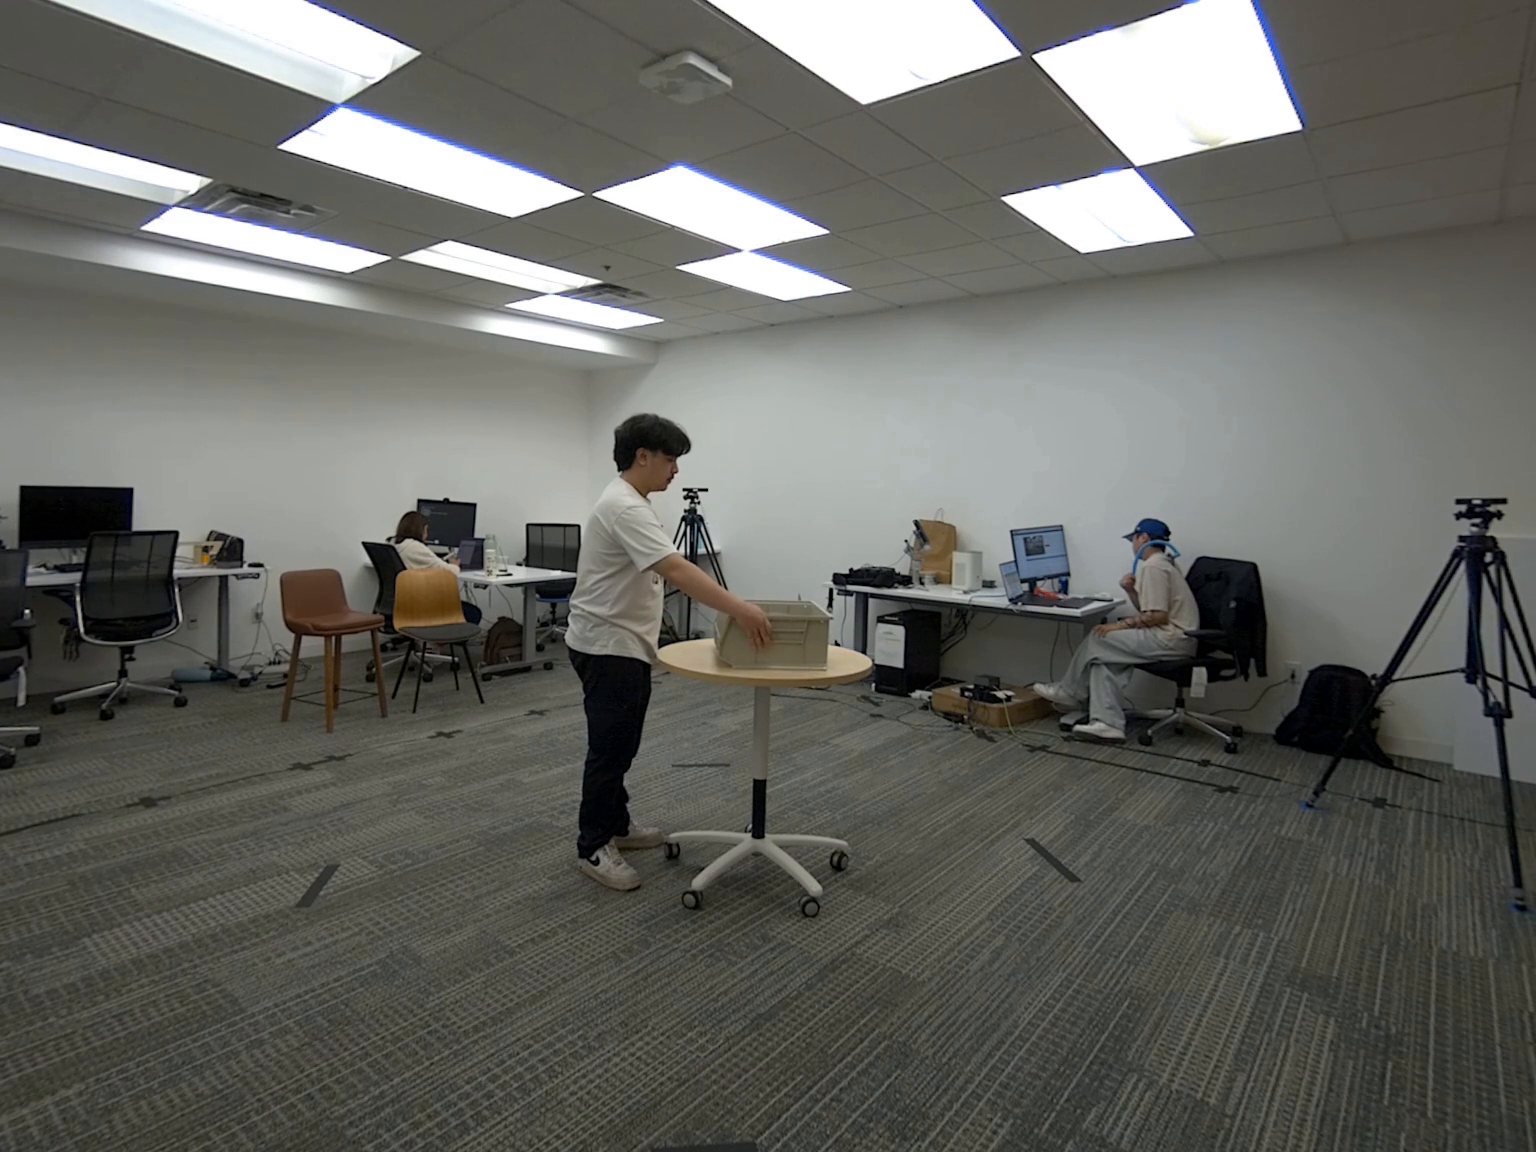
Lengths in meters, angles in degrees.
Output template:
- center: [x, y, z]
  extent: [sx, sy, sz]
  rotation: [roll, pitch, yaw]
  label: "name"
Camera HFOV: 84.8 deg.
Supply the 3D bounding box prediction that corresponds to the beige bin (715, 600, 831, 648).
- center: [-0.008, 0.203, 2.998]
  extent: [0.376, 0.188, 0.425]
  rotation: [2, 4, -3]
  label: "beige bin"
